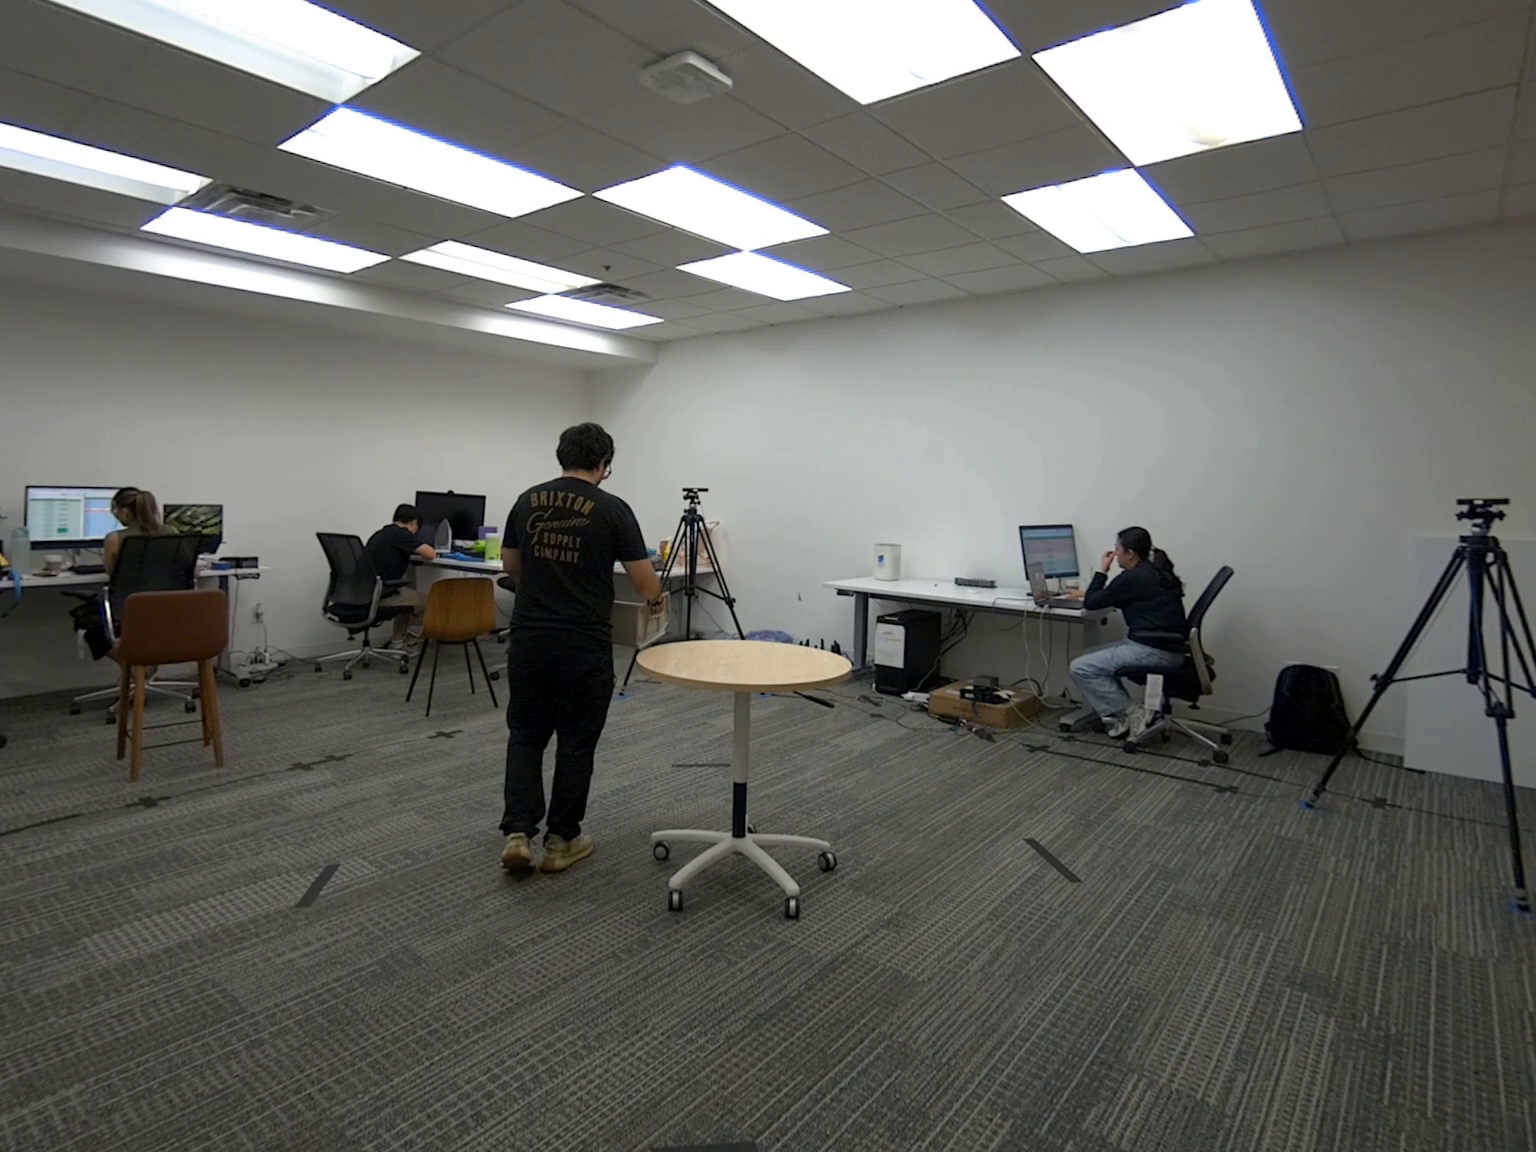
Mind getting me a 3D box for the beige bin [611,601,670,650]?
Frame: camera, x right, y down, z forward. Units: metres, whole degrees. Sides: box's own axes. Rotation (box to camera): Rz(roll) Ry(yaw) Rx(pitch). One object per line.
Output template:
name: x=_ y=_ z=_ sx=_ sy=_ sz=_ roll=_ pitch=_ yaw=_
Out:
beige bin: x=-0.666 y=0.151 z=3.523 sx=0.429 sy=0.187 sz=0.374 roll=5 pitch=10 yaw=13
